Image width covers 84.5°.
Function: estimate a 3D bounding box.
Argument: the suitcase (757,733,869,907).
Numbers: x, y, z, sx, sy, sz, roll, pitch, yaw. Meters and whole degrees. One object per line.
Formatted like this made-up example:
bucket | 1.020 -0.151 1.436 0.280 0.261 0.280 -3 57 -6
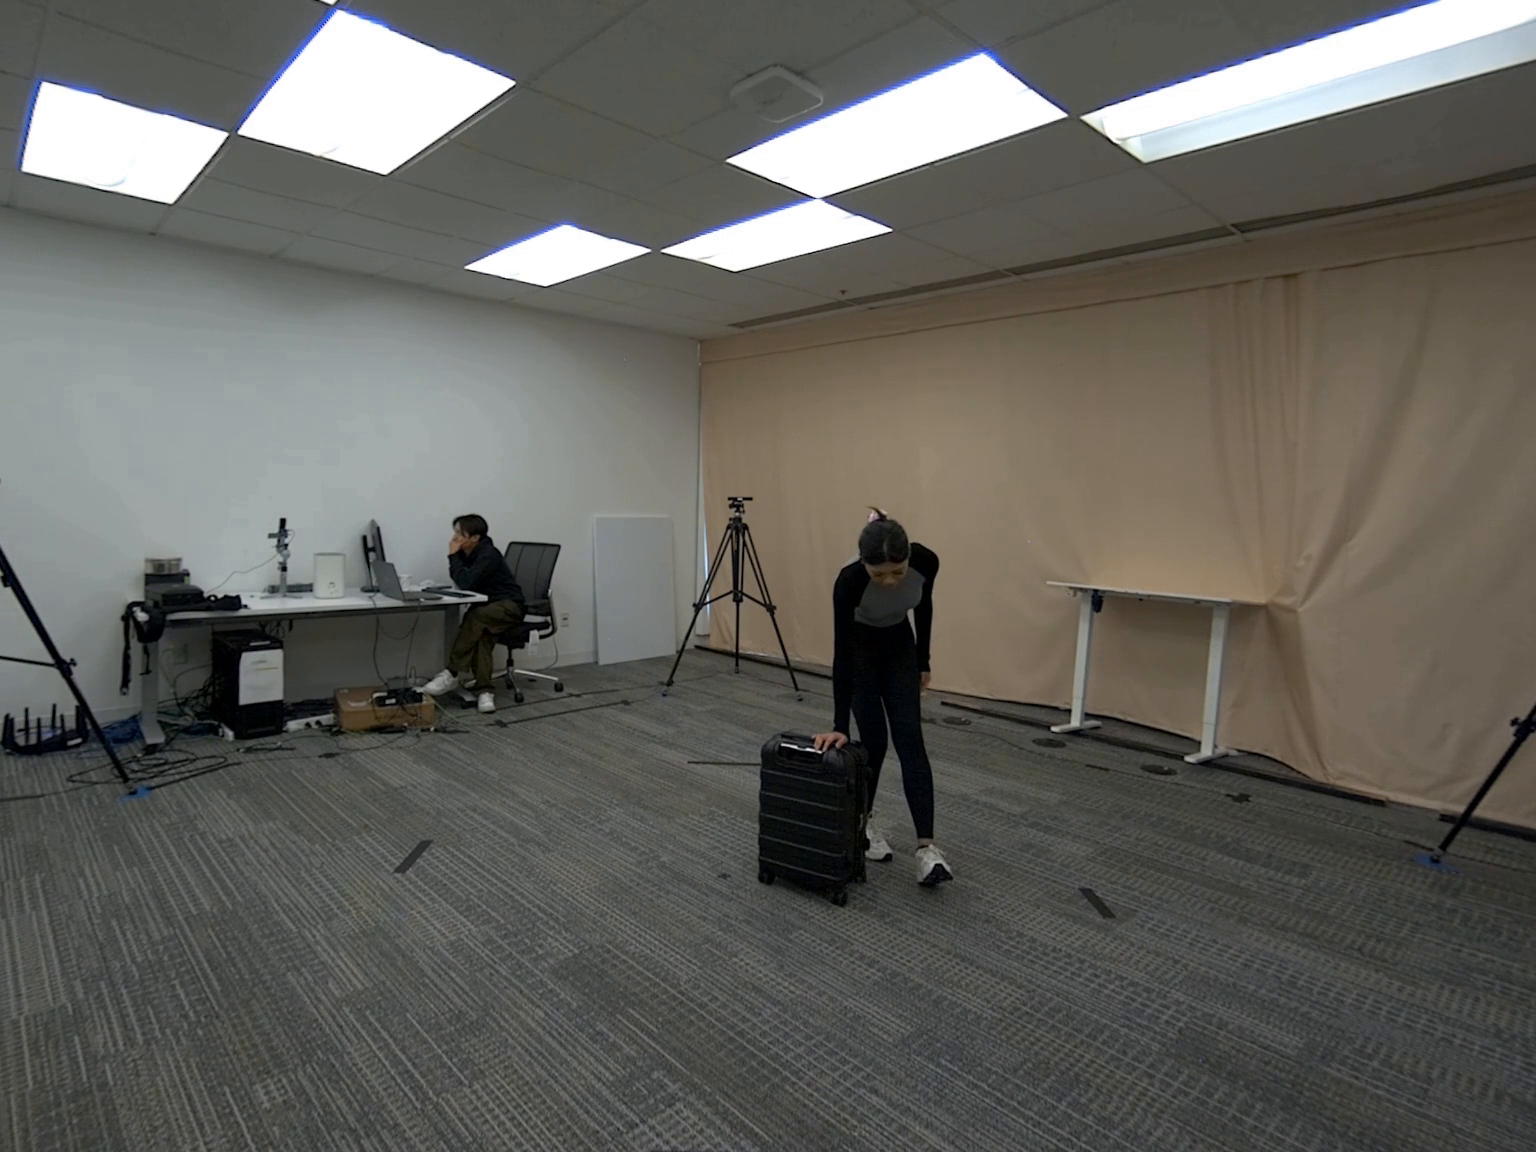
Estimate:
suitcase | 0.155 0.843 3.042 0.383 0.548 0.243 3 4 30
